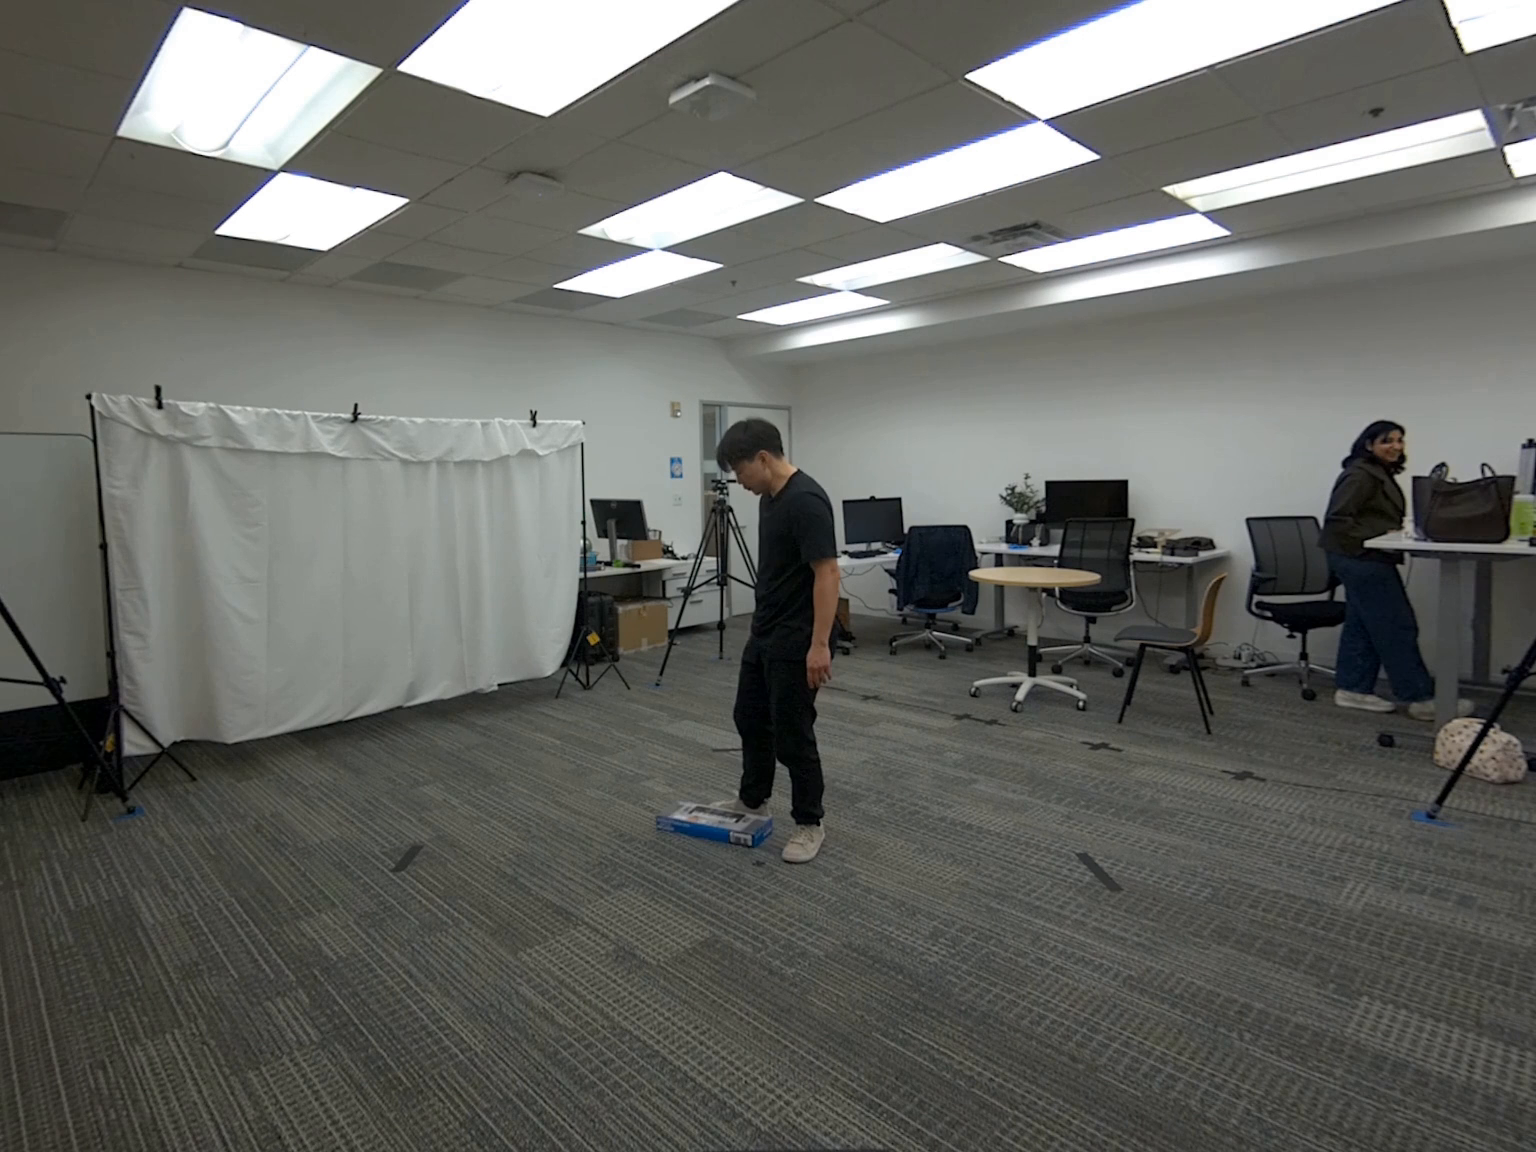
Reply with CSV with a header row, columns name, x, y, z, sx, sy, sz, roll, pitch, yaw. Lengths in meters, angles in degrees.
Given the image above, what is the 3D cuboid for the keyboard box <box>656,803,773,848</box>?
name,x,y,z,sx,sy,sz,roll,pitch,yaw
keyboard box,-0.212,0.990,3.400,0.448,0.059,0.172,3,7,28
